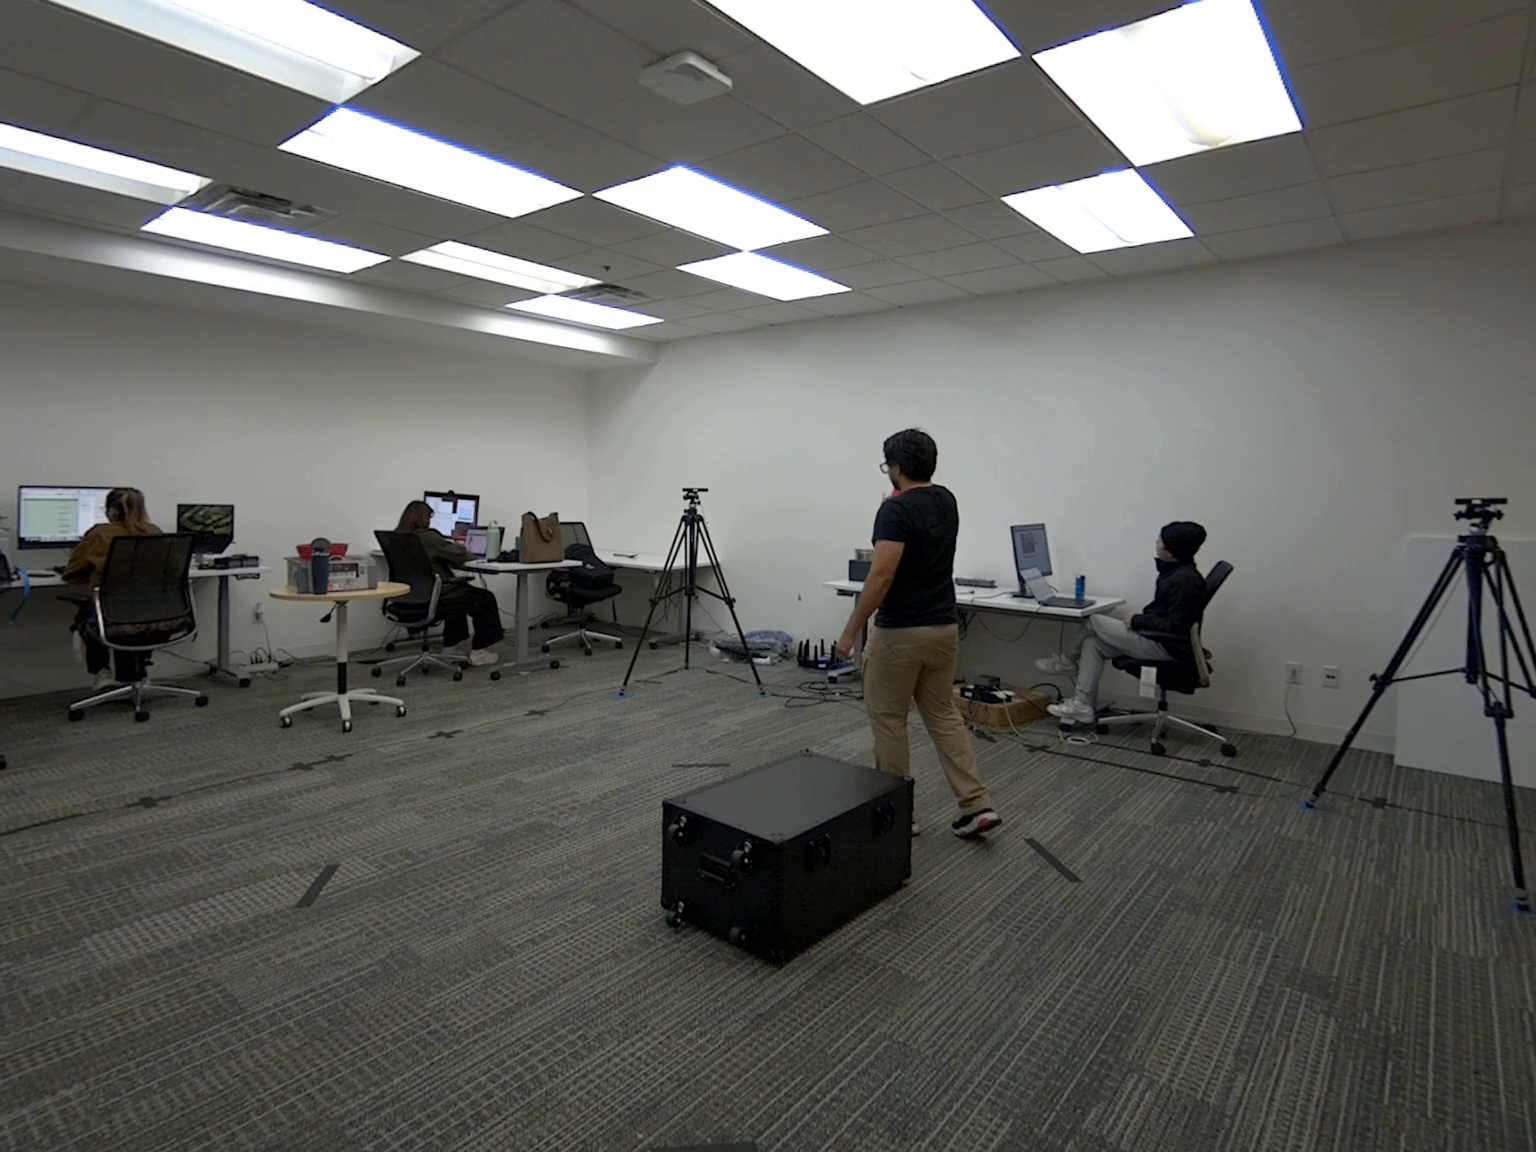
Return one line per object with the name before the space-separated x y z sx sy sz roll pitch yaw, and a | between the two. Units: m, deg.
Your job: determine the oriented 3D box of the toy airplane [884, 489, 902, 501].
toy airplane | 0.683 -0.349 4.194 0.262 0.259 0.150 -18 -35 16
